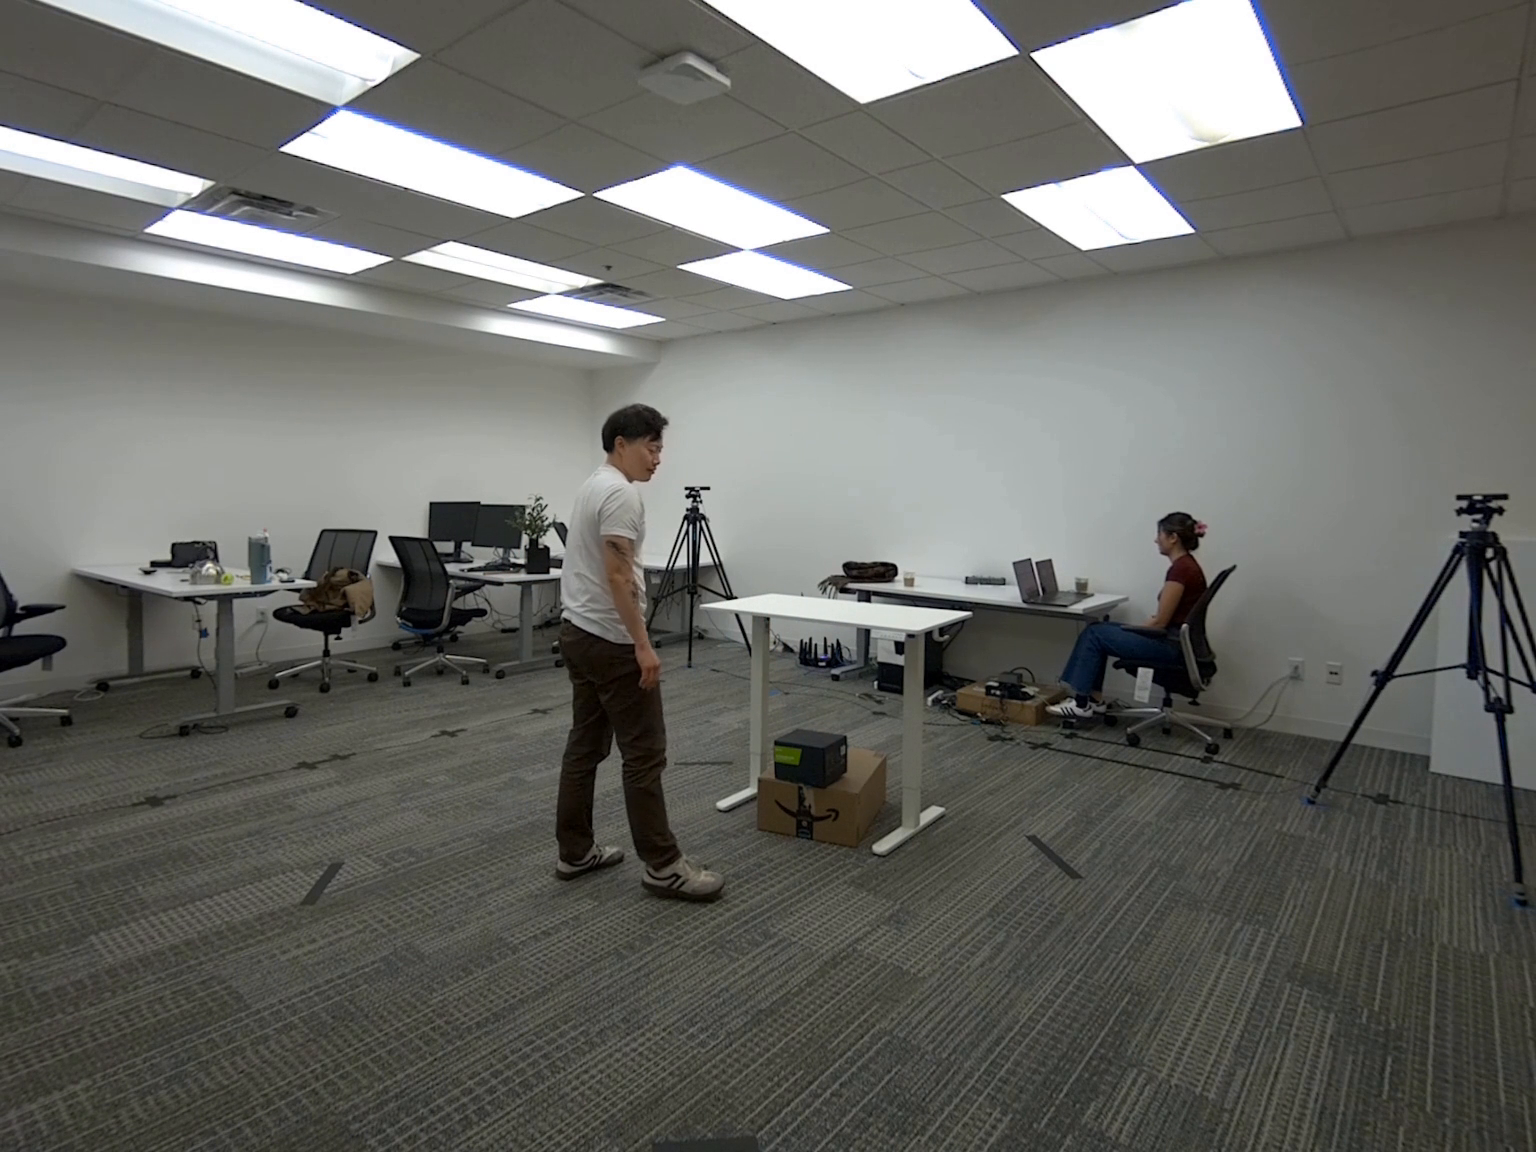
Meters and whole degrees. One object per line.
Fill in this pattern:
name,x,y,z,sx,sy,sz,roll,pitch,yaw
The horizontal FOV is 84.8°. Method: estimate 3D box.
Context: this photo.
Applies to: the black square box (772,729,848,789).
black square box,0.166,0.731,3.480,0.234,0.155,0.211,1,4,31
